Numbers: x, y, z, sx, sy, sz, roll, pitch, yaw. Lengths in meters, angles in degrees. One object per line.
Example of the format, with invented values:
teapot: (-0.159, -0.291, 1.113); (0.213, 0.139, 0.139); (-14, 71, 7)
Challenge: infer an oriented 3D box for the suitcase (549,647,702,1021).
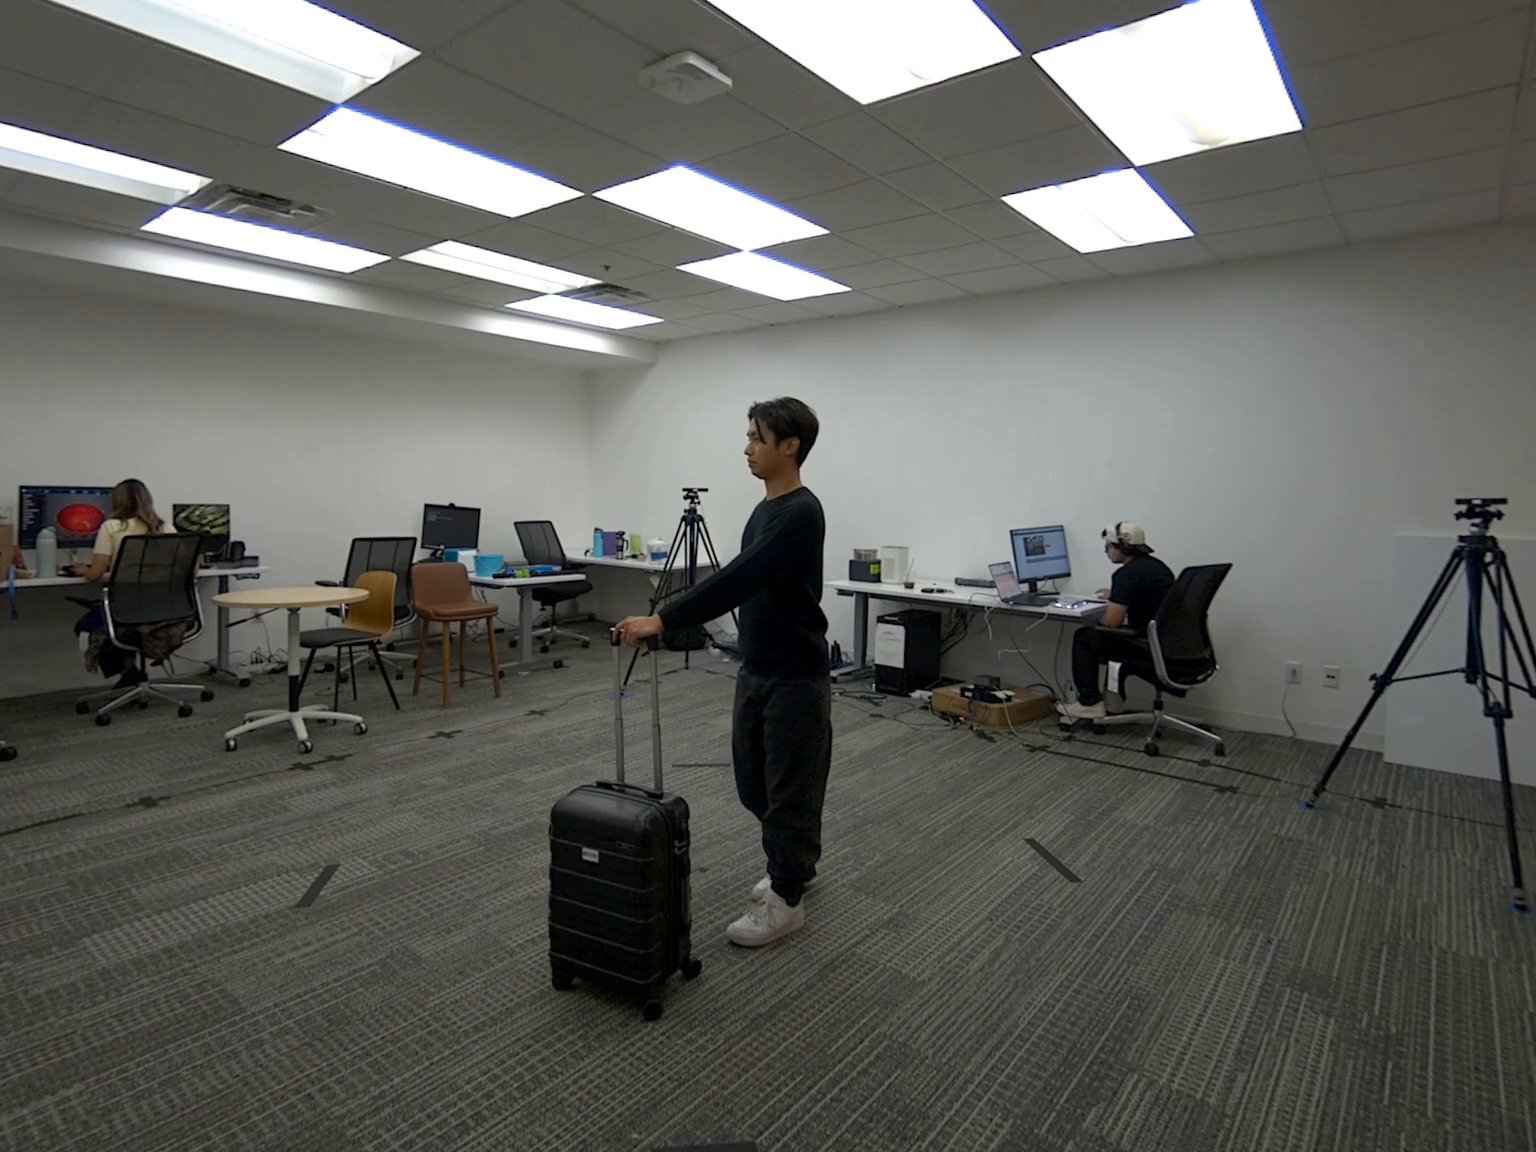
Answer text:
suitcase: (-0.418, 0.664, 2.355); (0.394, 0.974, 0.251); (2, 5, 27)
